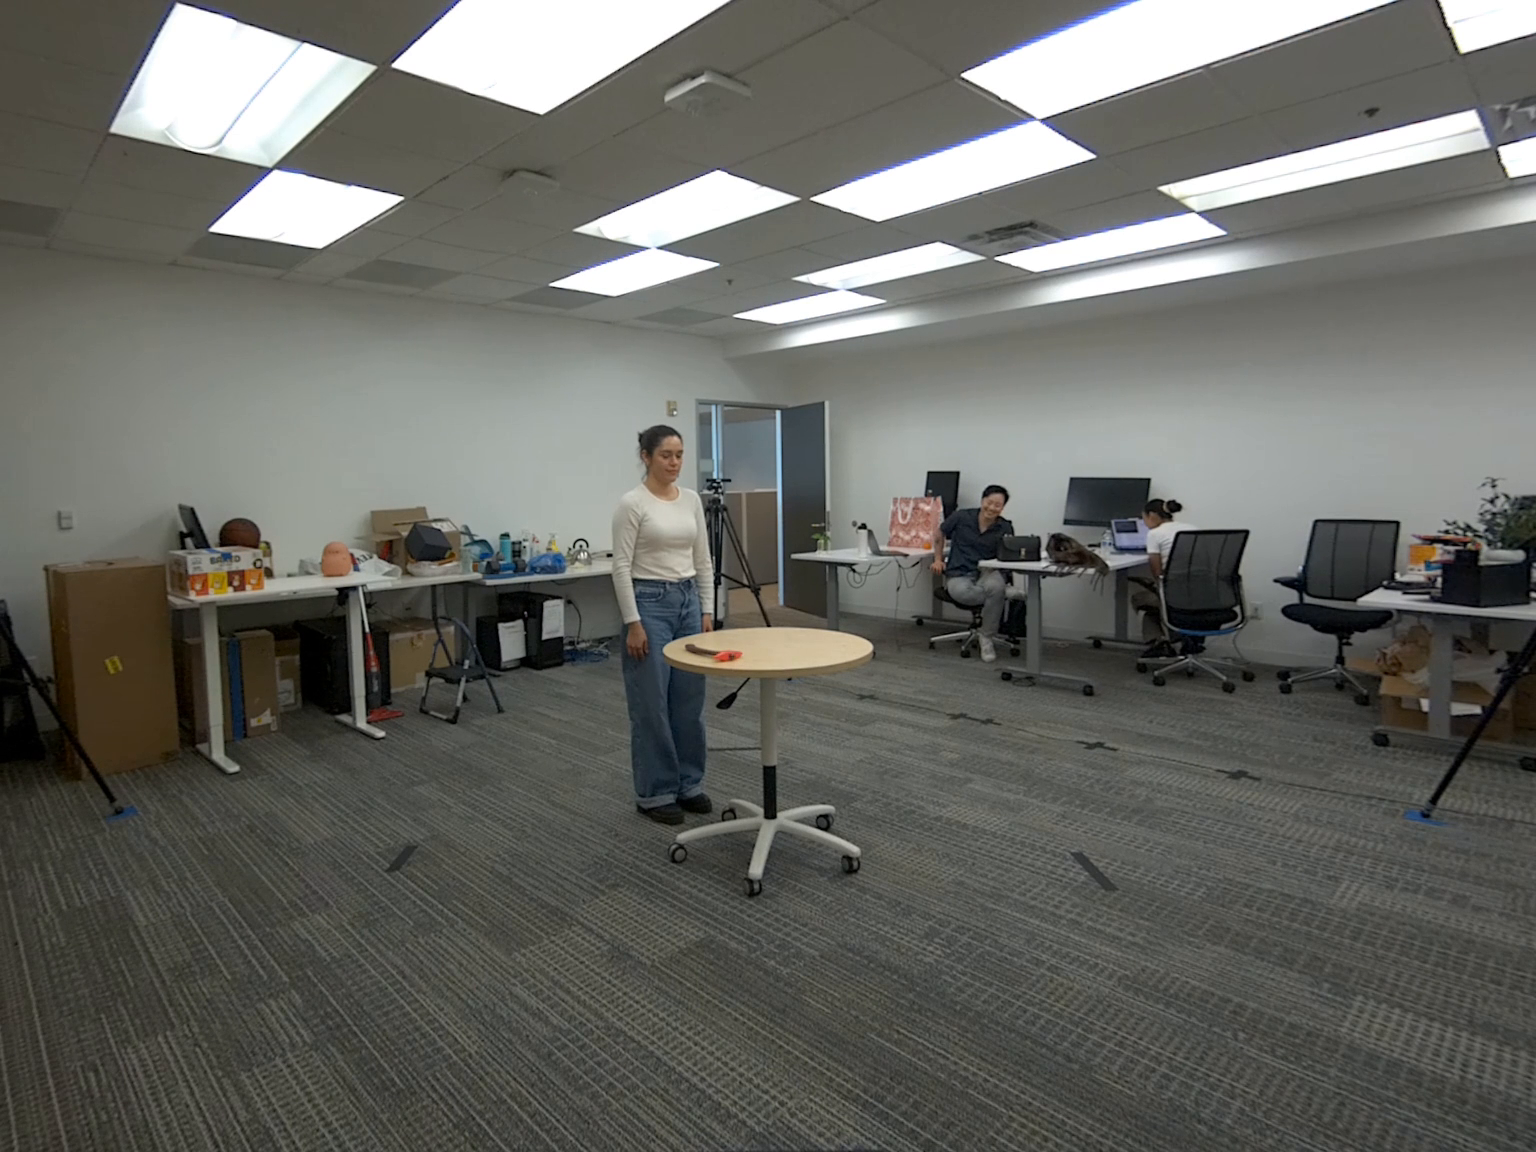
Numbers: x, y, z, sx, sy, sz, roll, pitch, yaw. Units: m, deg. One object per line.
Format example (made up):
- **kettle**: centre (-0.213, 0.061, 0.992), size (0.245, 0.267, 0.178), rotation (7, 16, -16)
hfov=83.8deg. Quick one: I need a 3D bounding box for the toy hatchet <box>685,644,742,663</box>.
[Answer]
- **toy hatchet**: centre (-0.184, 0.270, 3.007), size (0.128, 0.029, 0.277), rotation (-3, 5, -26)
